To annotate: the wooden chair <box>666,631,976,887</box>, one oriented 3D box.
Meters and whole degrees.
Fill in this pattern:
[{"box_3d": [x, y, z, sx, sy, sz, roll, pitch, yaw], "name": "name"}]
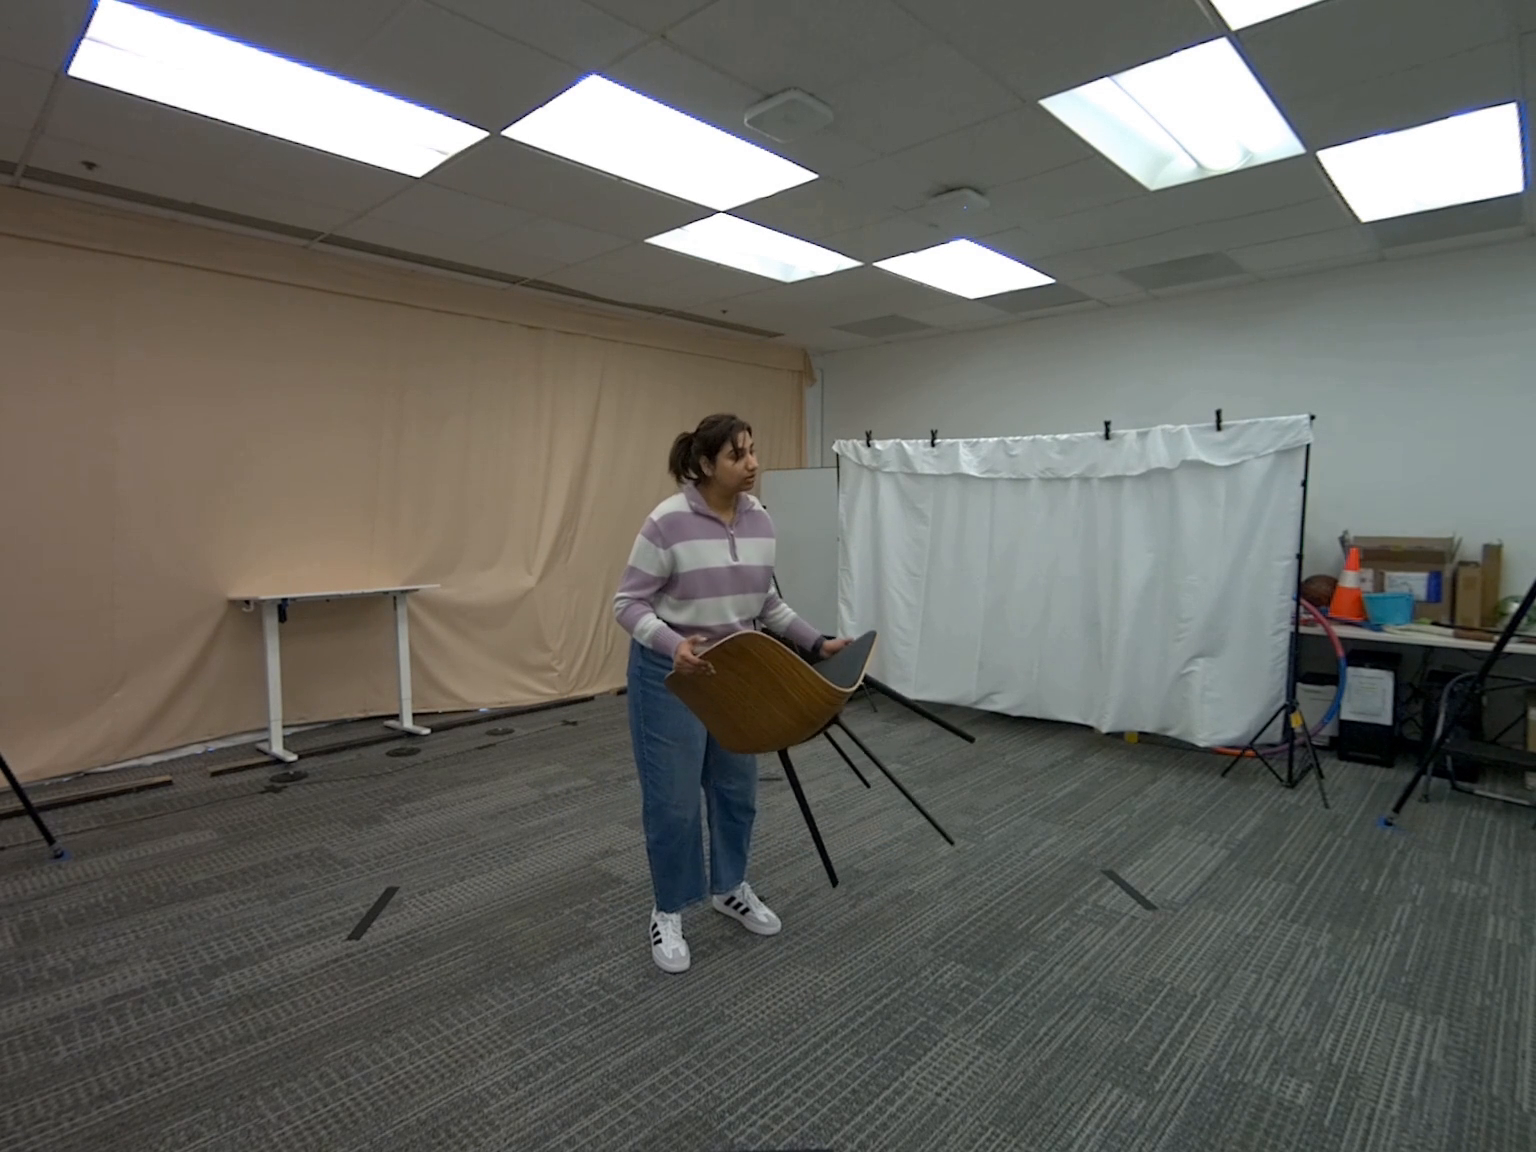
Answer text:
[{"box_3d": [0.169, 0.421, 2.538, 0.484, 0.867, 0.522, -37, 13, 35], "name": "wooden chair"}]
